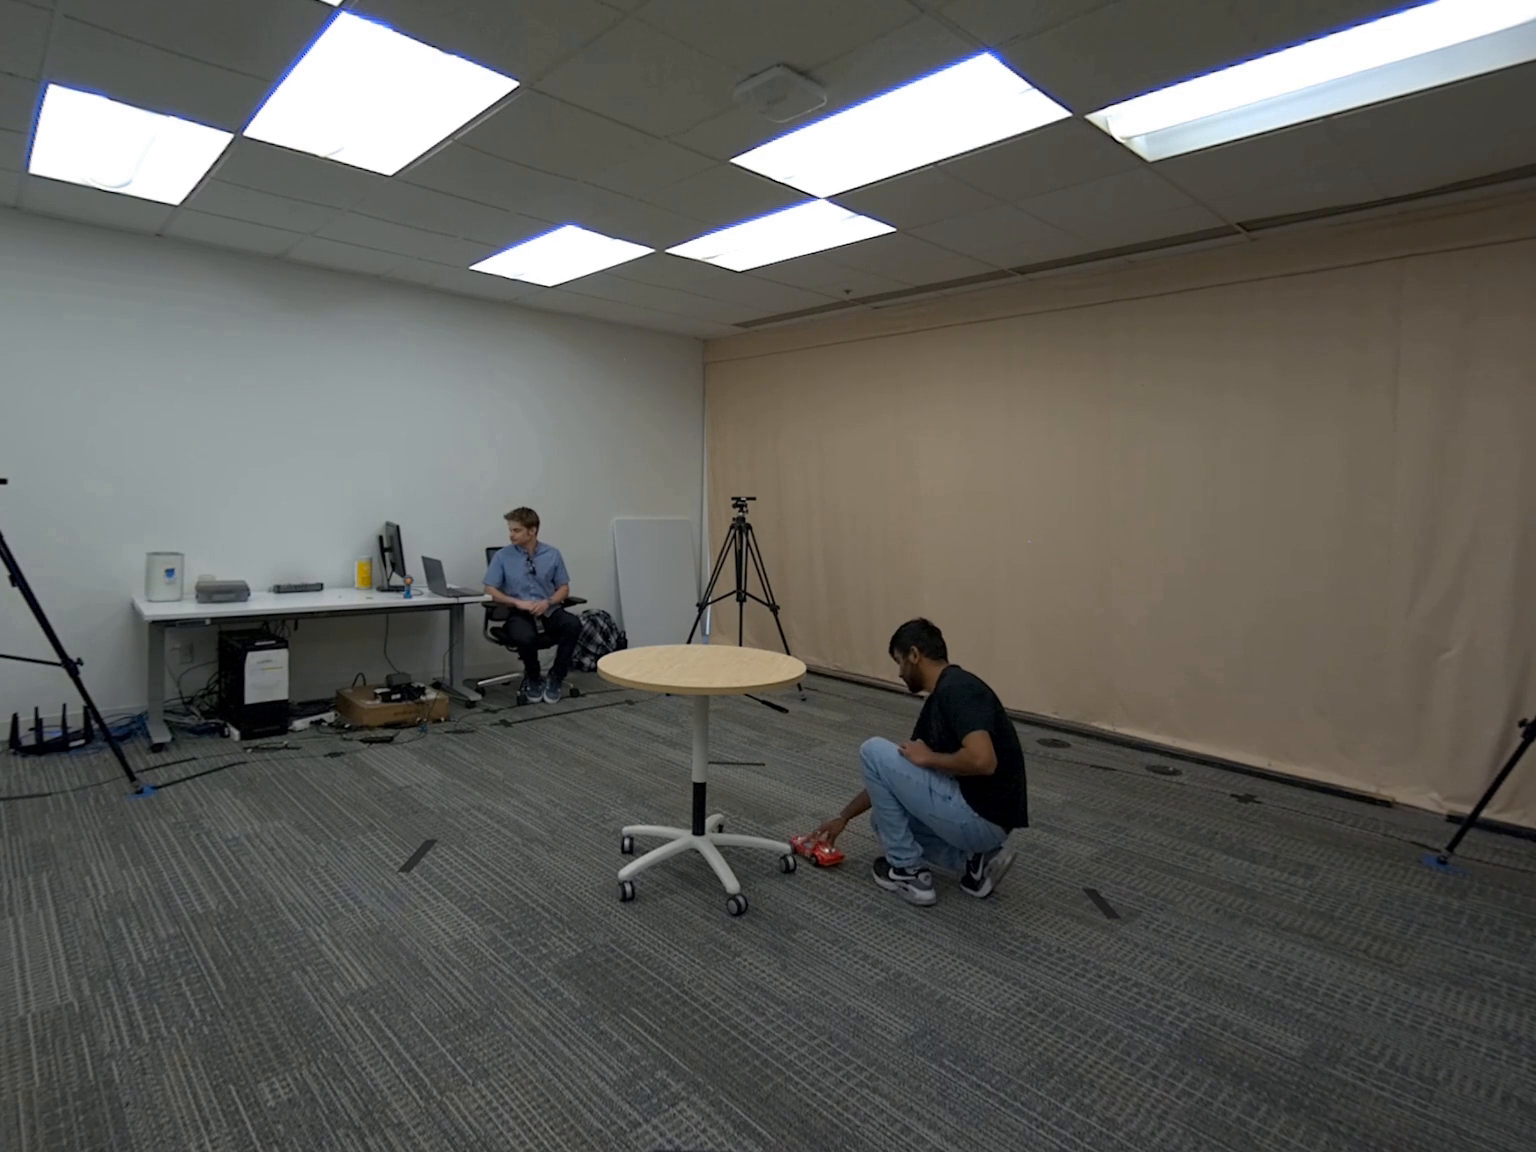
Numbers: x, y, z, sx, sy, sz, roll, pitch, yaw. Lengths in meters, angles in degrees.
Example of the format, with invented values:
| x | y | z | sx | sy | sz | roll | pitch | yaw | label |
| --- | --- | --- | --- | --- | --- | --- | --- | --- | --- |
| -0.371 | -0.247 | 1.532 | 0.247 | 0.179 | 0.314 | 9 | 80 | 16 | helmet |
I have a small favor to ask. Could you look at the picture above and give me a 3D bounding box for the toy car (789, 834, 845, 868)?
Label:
| x | y | z | sx | sy | sz | roll | pitch | yaw | label |
| --- | --- | --- | --- | --- | --- | --- | --- | --- | --- |
| 0.189 | 1.066 | 3.271 | 0.127 | 0.083 | 0.259 | 1 | -6 | -33 | toy car |
